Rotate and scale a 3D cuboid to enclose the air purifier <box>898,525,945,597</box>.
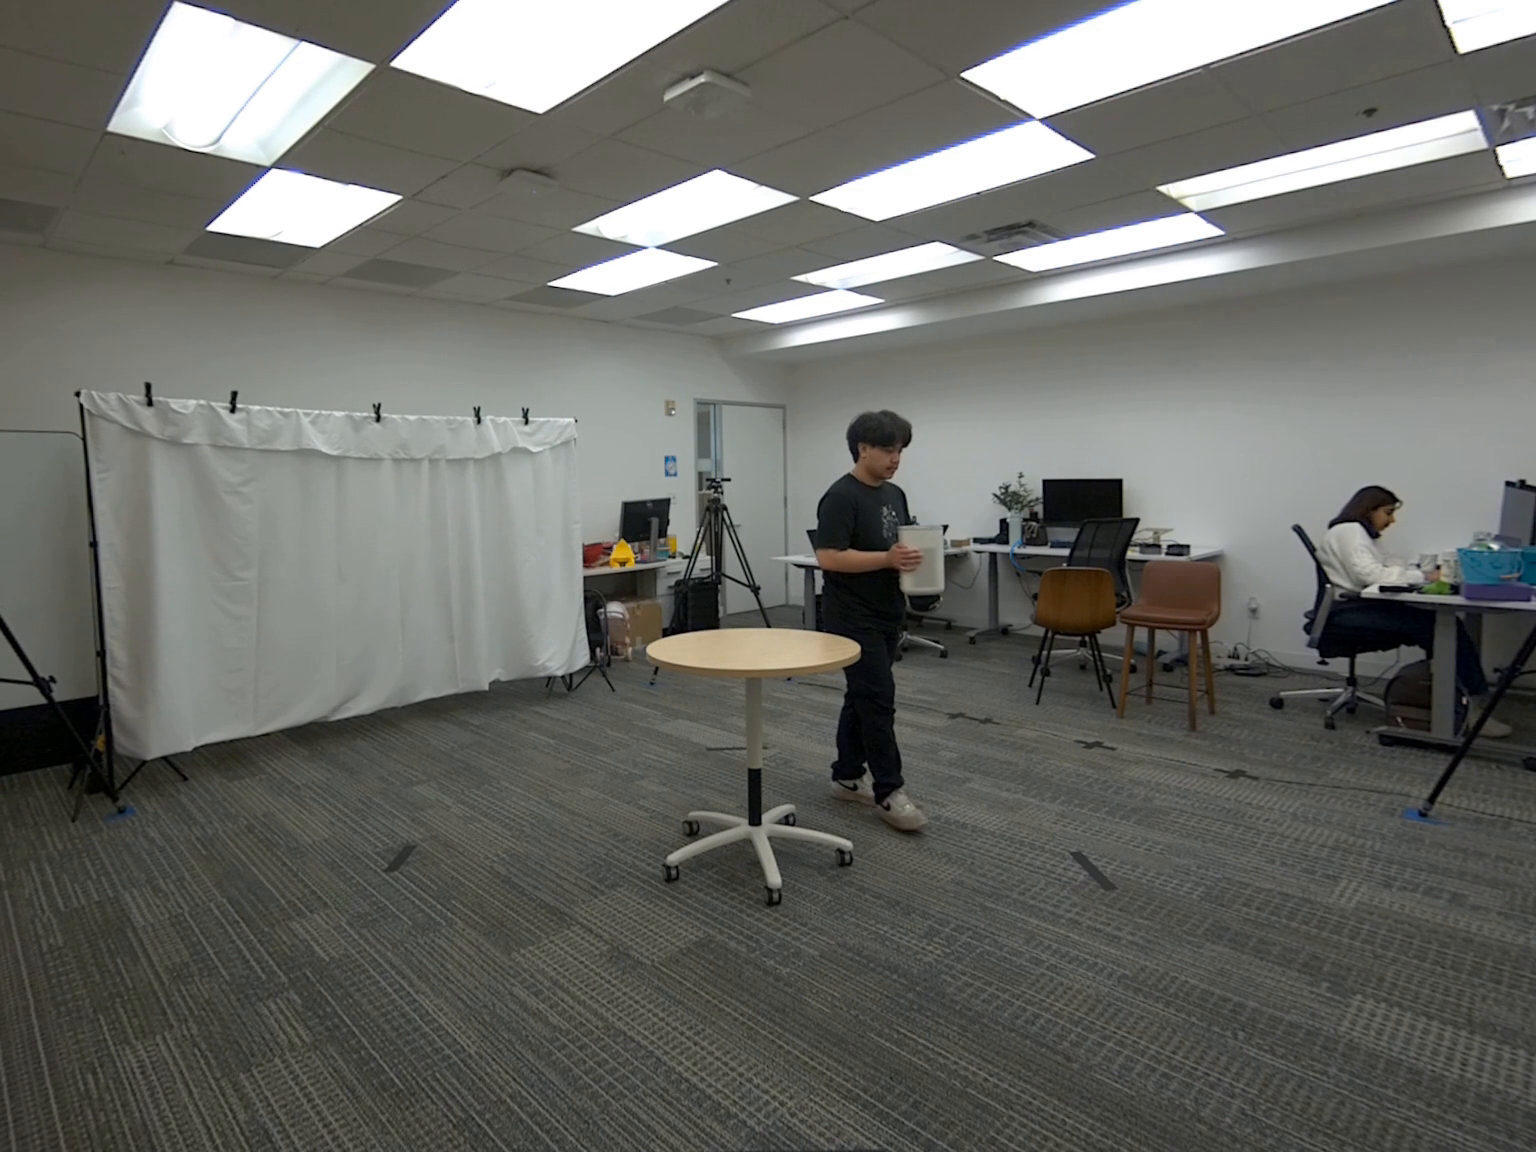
[{"bbox_3d":[0.604,-0.063,3.411,0.173,0.264,0.171,-2,6,7],"label":"air purifier"}]
